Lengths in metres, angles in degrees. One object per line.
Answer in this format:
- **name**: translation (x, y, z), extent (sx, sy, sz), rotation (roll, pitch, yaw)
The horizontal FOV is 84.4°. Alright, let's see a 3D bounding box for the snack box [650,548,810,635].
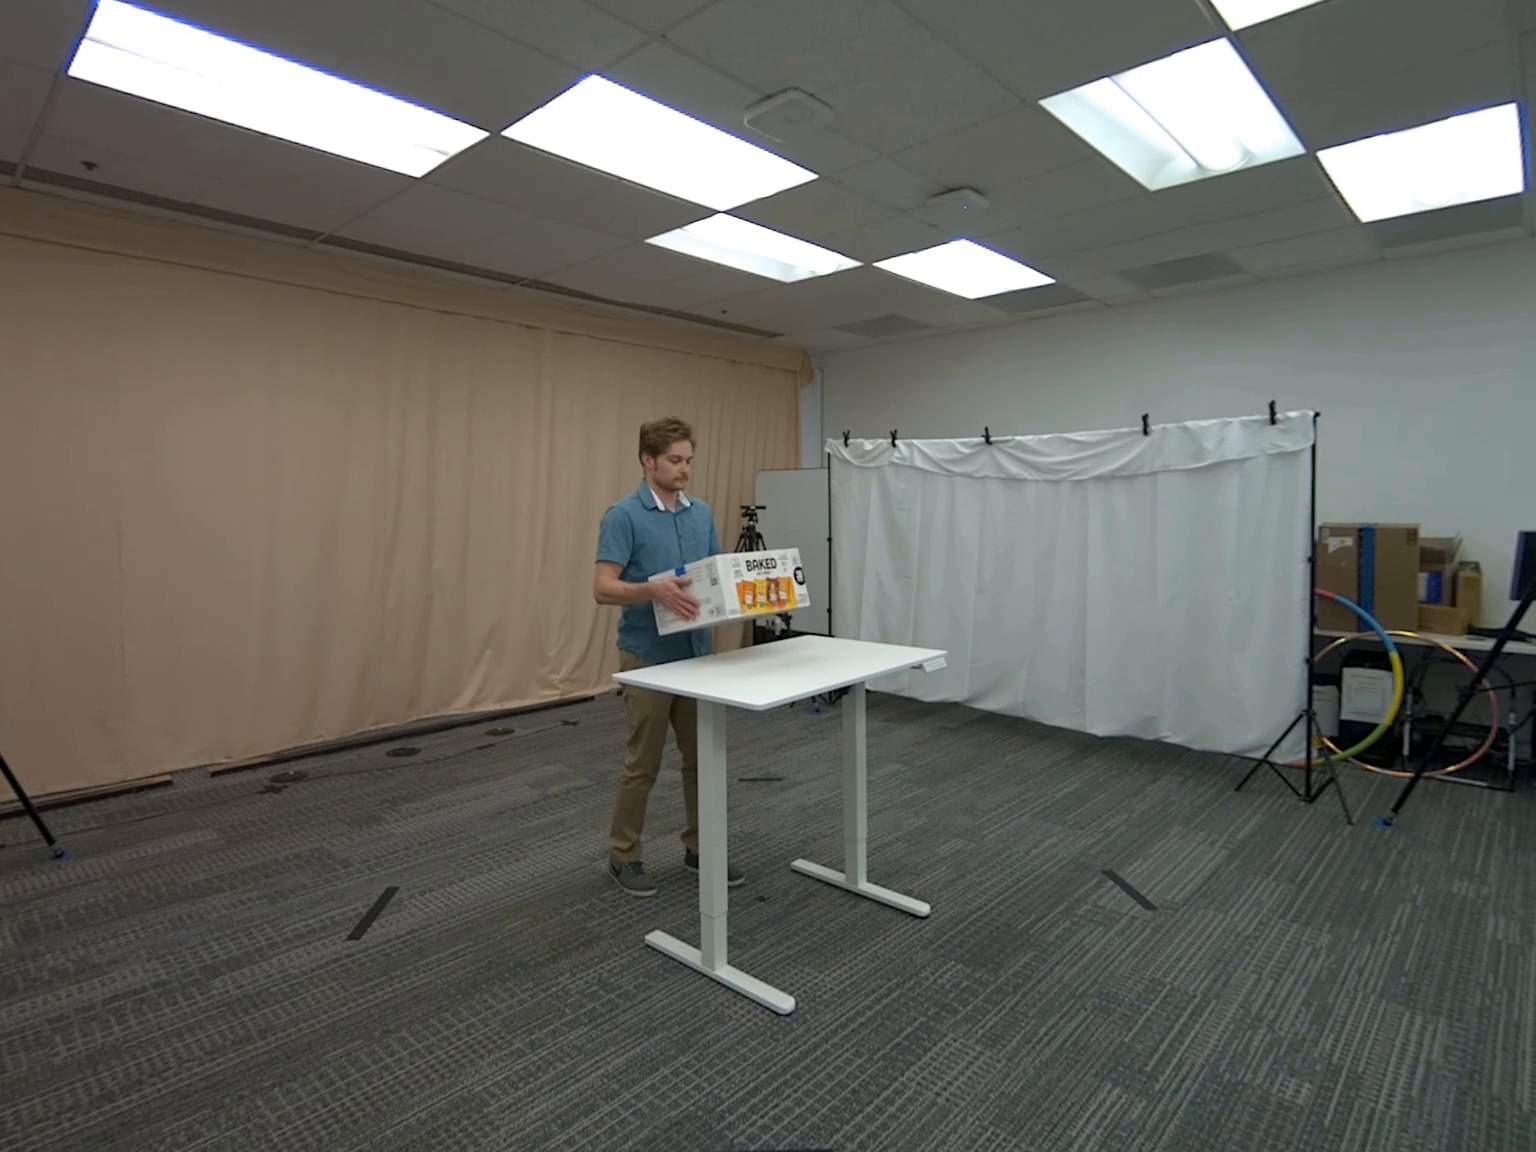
- **snack box**: translation (-0.126, 0.054, 2.851), extent (0.349, 0.207, 0.393), rotation (-17, -7, 43)
